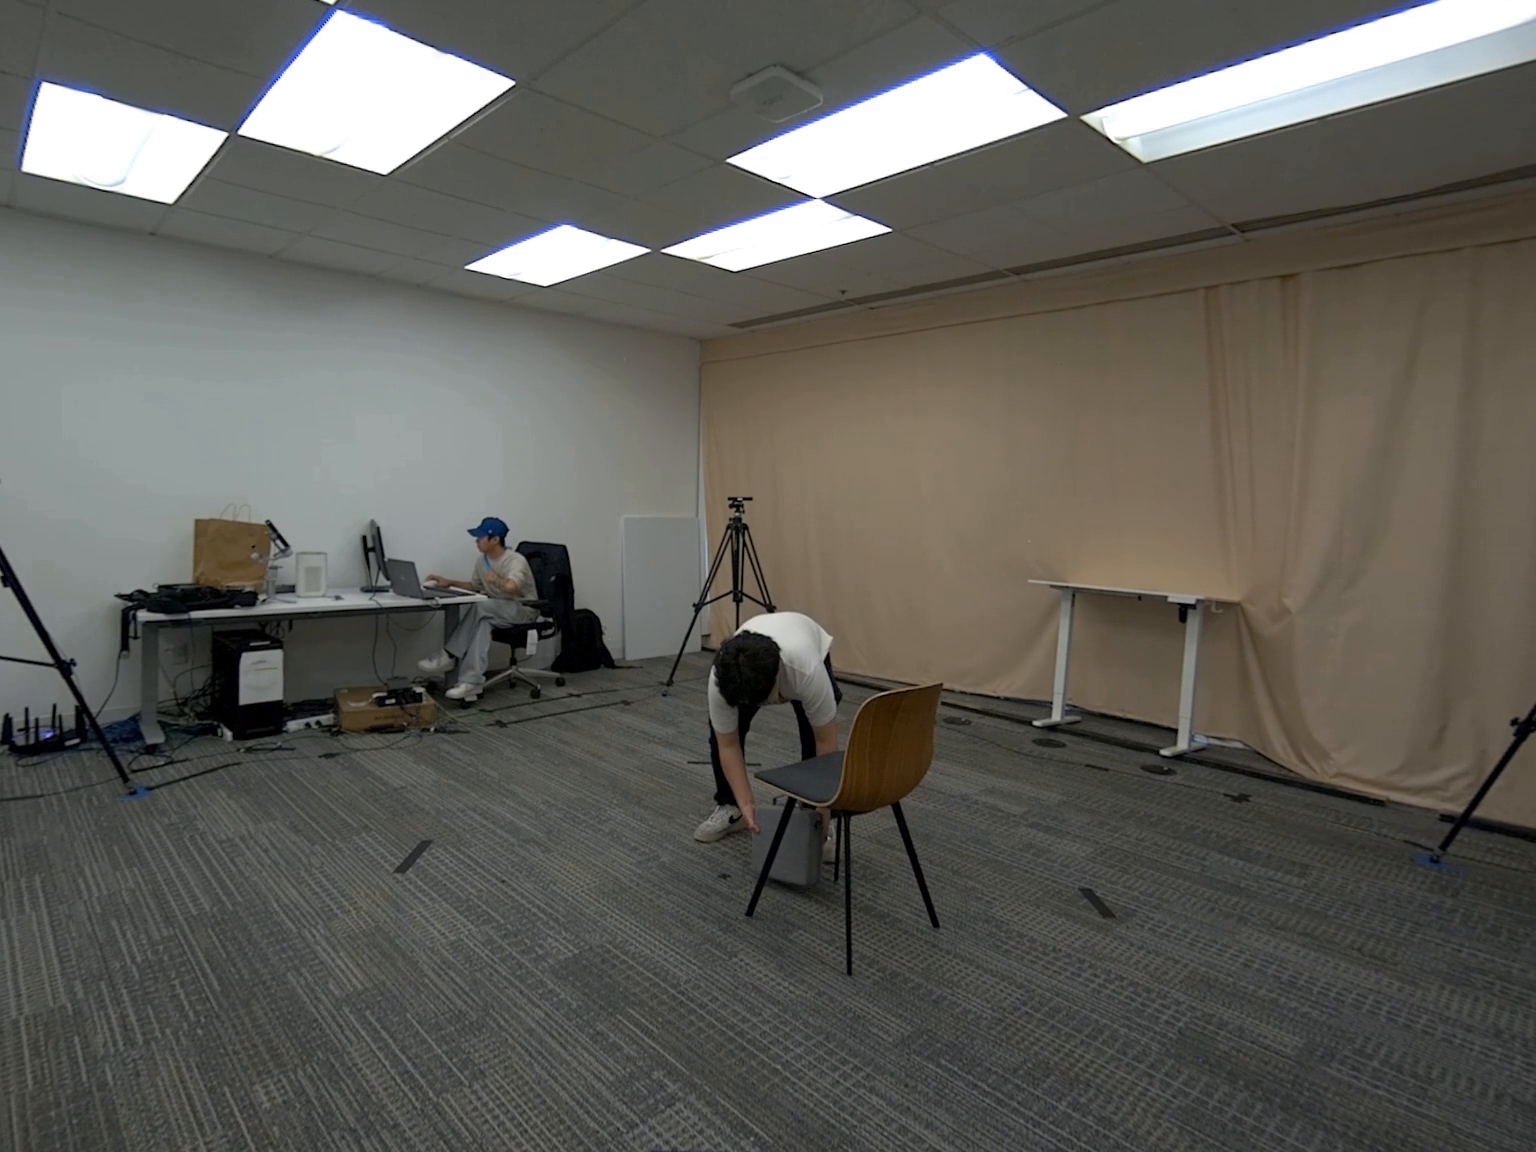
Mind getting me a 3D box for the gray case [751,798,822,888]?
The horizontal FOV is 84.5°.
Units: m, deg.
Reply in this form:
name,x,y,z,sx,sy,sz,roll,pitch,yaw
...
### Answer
name,x,y,z,sx,sy,sz,roll,pitch,yaw
gray case,0.058,0.960,3.028,0.262,0.262,0.101,-1,-8,35
